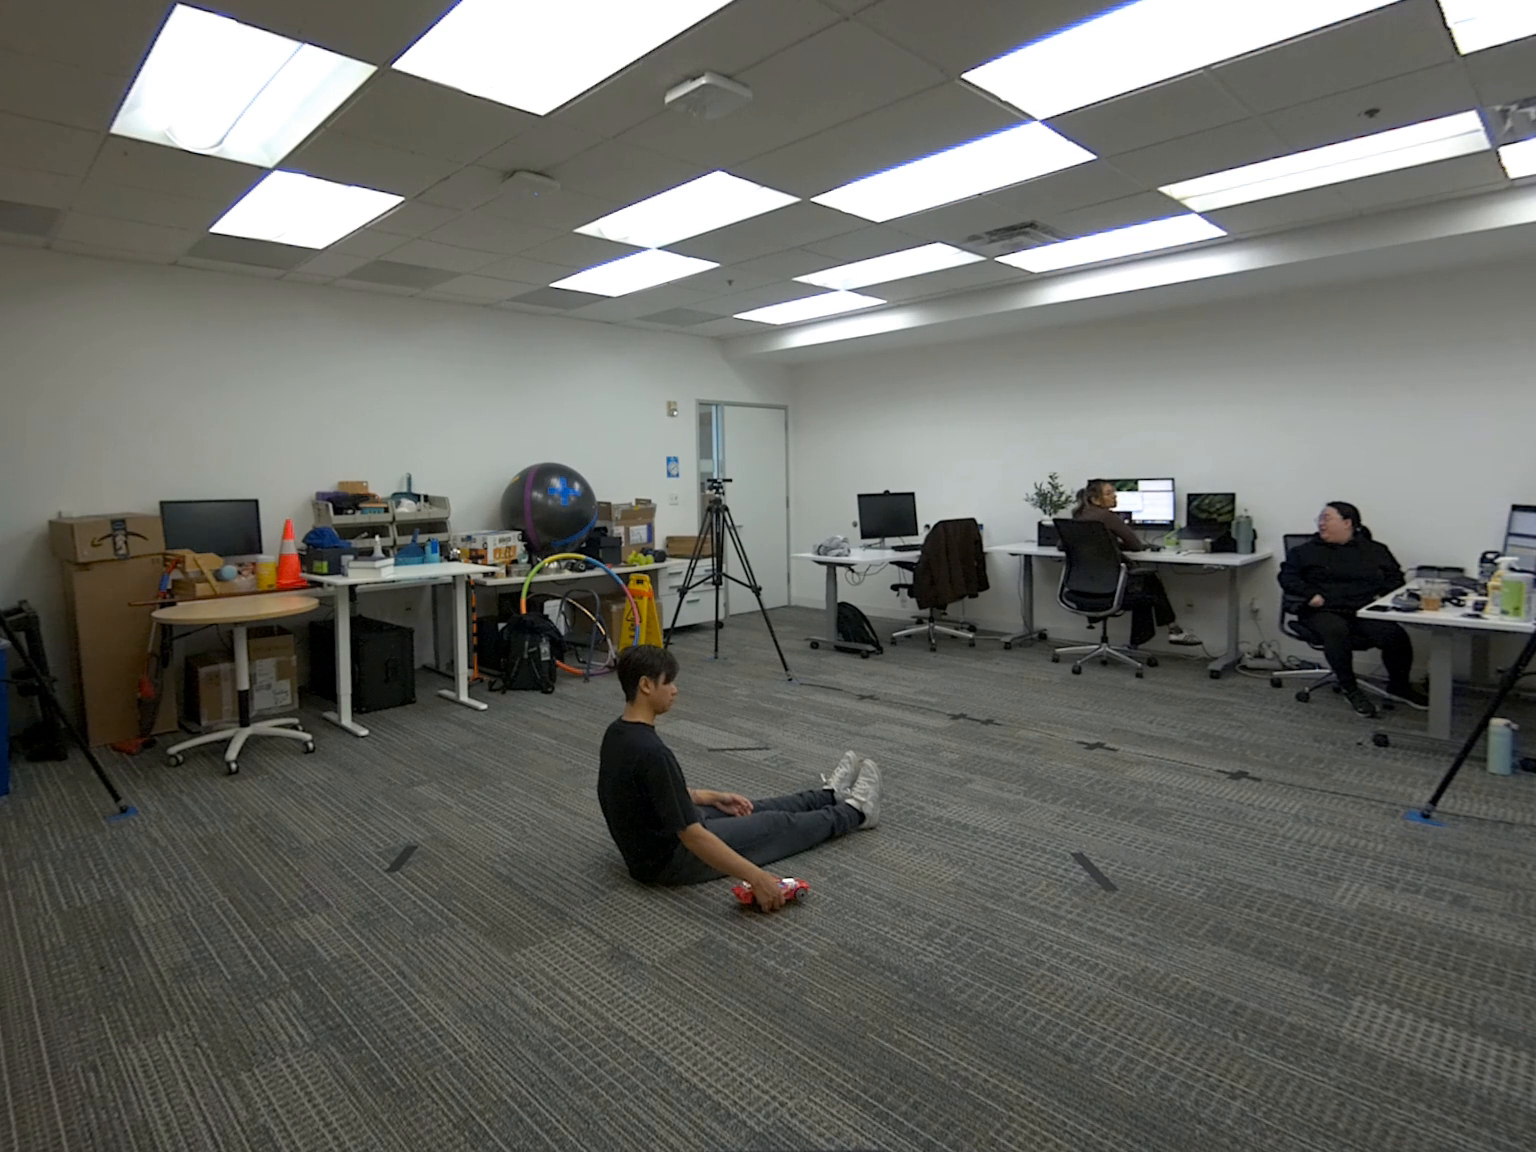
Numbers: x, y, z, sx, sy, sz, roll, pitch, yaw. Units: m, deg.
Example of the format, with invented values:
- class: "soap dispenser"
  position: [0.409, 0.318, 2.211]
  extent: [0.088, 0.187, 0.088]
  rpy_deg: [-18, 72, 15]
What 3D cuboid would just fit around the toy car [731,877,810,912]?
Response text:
- class: "toy car"
  position: [0.006, 1.033, 2.809]
  extent: [0.251, 0.084, 0.131]
  rpy_deg: [7, -8, -12]
